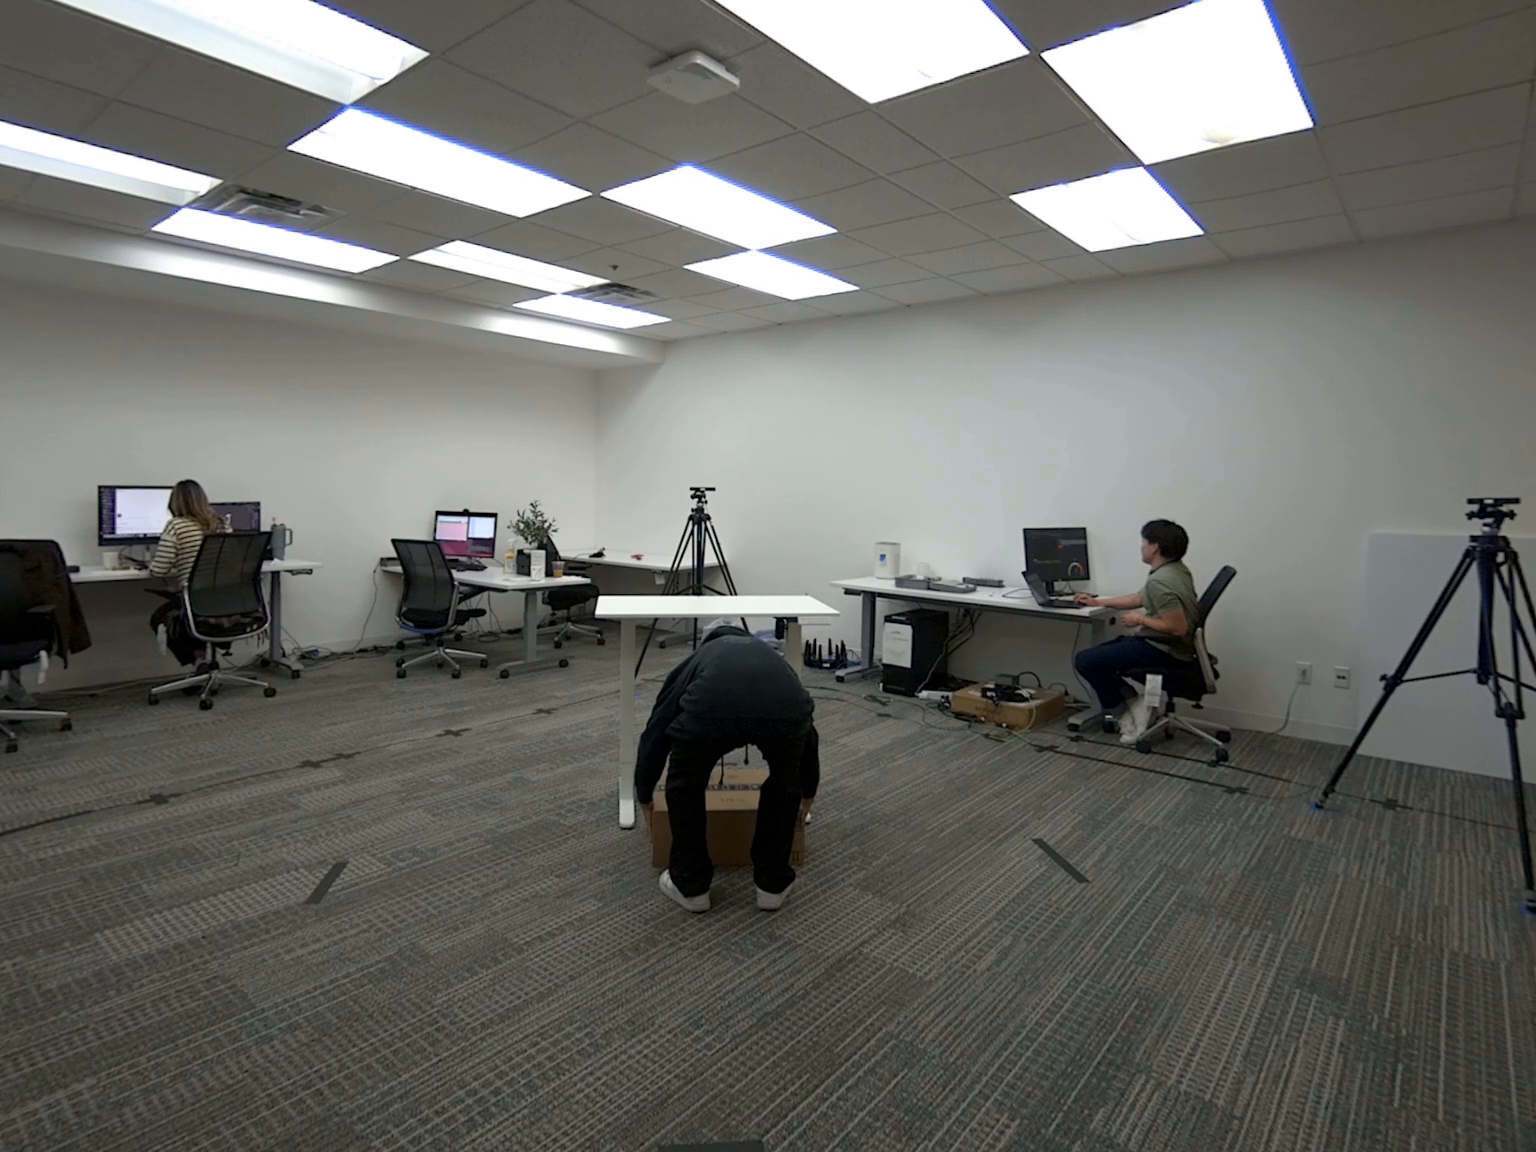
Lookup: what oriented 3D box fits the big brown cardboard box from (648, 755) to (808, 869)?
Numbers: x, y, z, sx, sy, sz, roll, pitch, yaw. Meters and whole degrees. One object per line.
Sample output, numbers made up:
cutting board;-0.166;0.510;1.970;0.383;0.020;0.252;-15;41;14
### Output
big brown cardboard box;-0.181;0.932;3.331;0.585;0.232;0.422;1;6;-6
